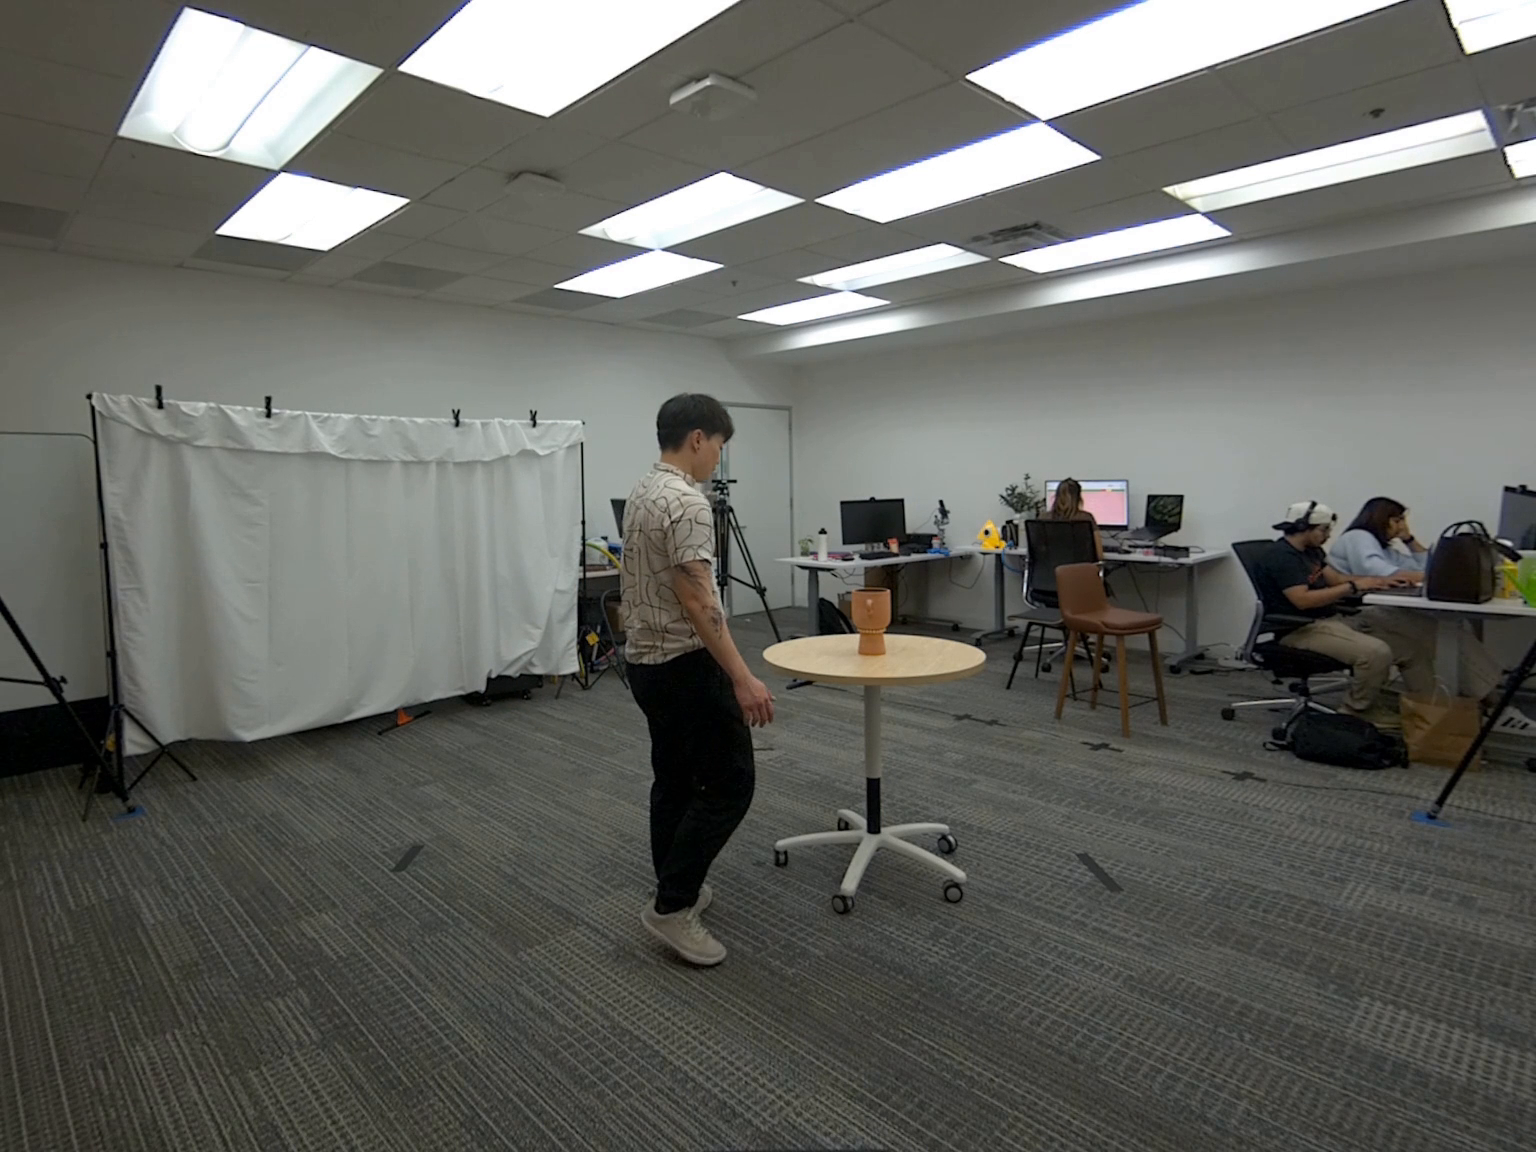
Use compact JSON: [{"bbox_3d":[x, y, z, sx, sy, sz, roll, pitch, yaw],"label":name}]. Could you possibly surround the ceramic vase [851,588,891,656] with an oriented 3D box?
[{"bbox_3d":[0.370,0.161,2.993,0.155,0.219,0.138,-4,5,-38],"label":"ceramic vase"}]
